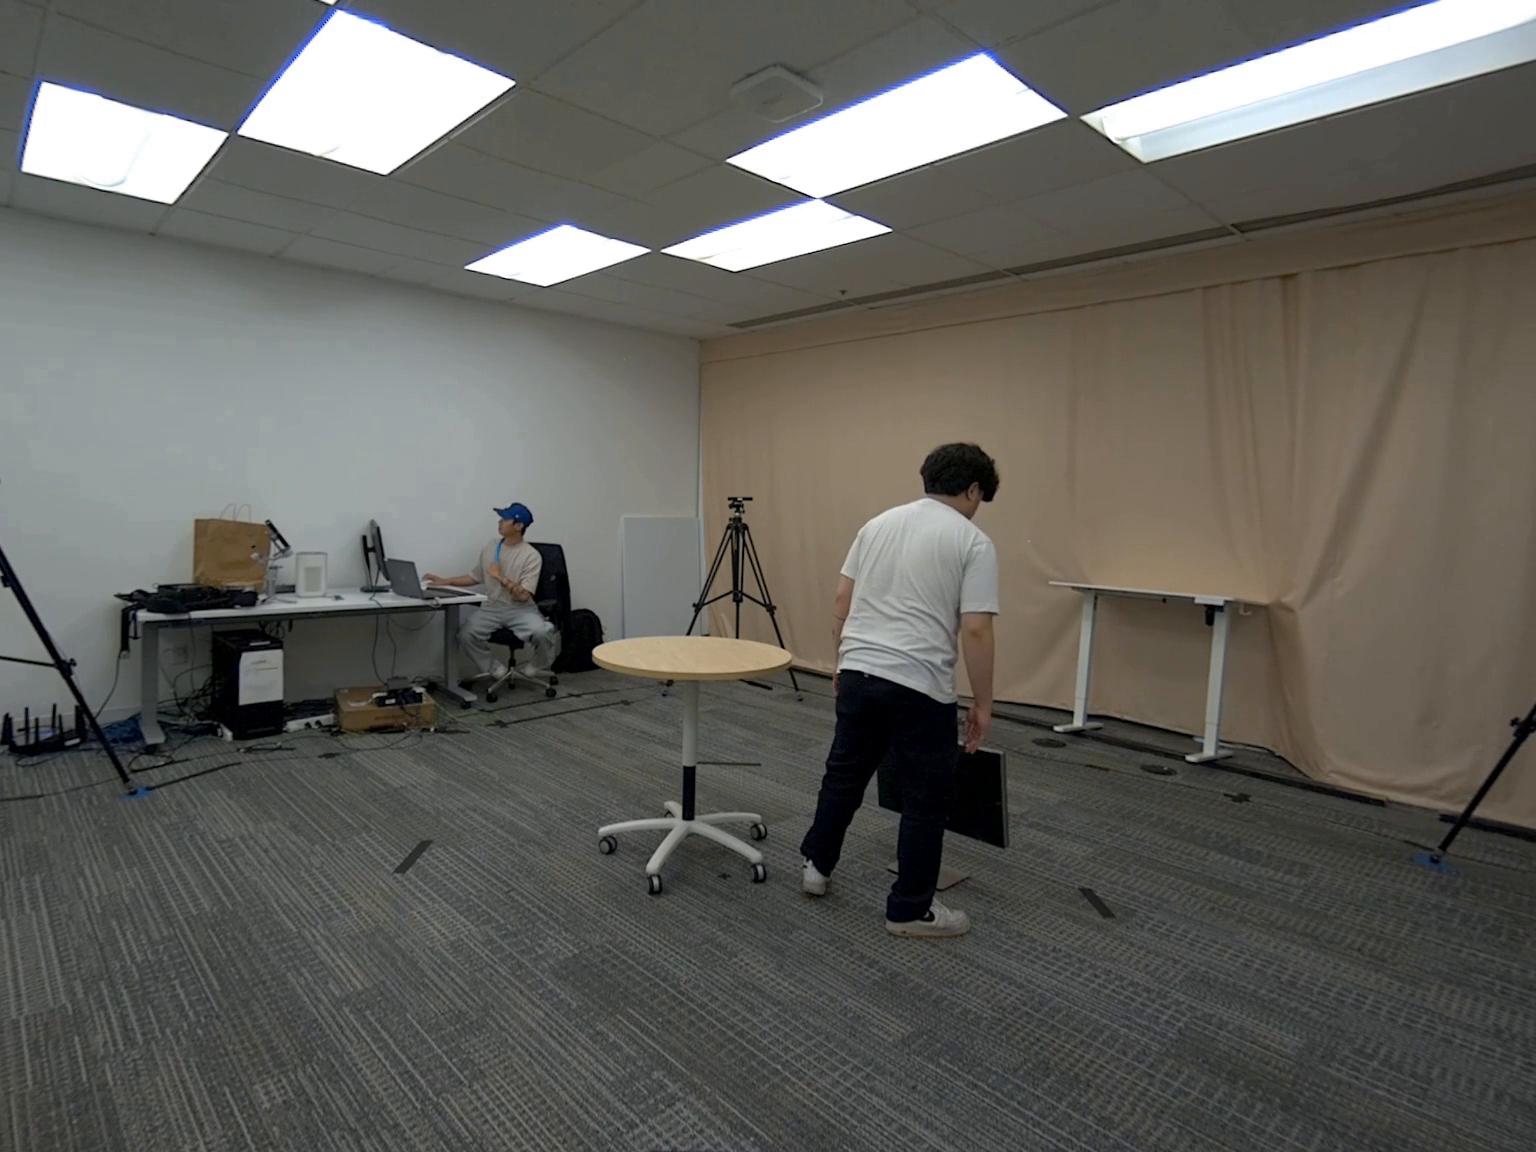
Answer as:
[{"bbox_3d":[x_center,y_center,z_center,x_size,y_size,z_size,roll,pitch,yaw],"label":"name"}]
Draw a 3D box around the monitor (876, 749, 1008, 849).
[{"bbox_3d":[0.586,0.868,3.148,0.205,0.552,0.580,-5,7,-44],"label":"monitor"}]
